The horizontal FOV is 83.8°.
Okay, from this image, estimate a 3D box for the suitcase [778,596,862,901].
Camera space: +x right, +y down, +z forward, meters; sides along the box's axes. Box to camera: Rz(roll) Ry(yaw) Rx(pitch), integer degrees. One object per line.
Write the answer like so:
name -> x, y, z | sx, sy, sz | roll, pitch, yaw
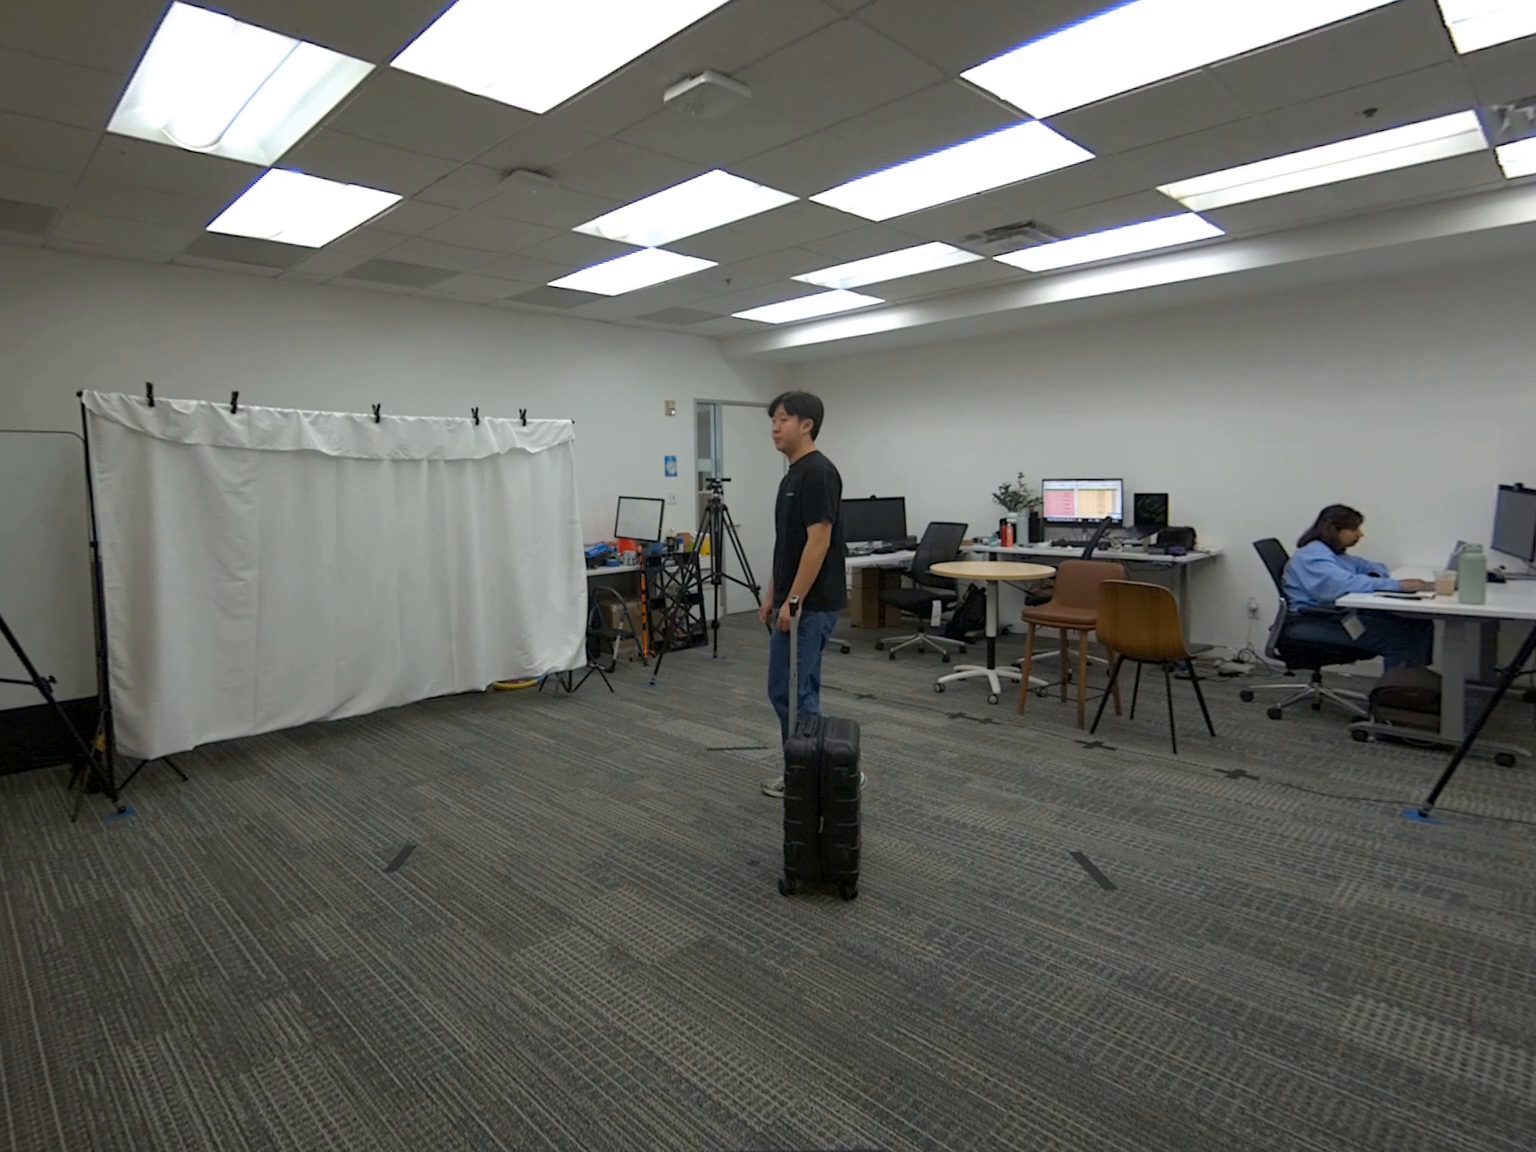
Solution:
suitcase -> 0.204, 0.584, 2.940 | 0.259, 0.973, 0.383 | 2, 6, 7
